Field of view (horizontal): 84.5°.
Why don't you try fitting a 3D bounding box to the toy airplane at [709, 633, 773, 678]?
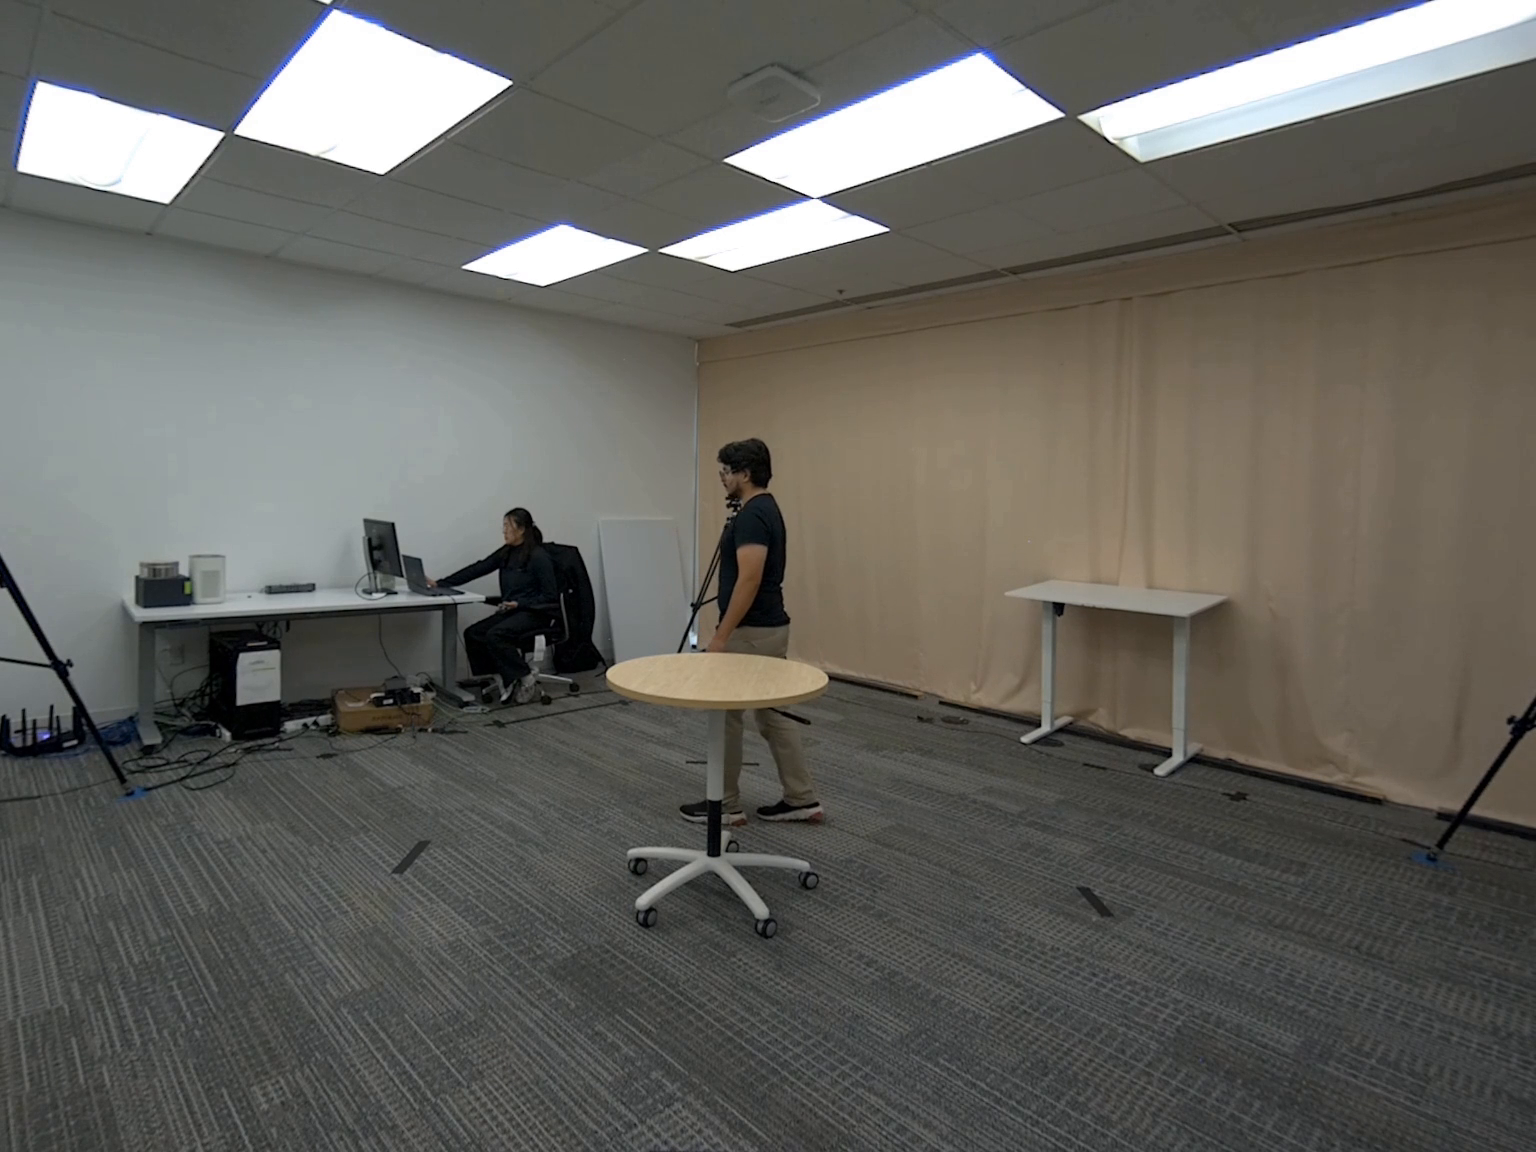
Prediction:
[{"bbox_3d":[-0.135,0.351,3.960,0.258,0.159,0.249,-9,-16,-8],"label":"toy airplane"}]
